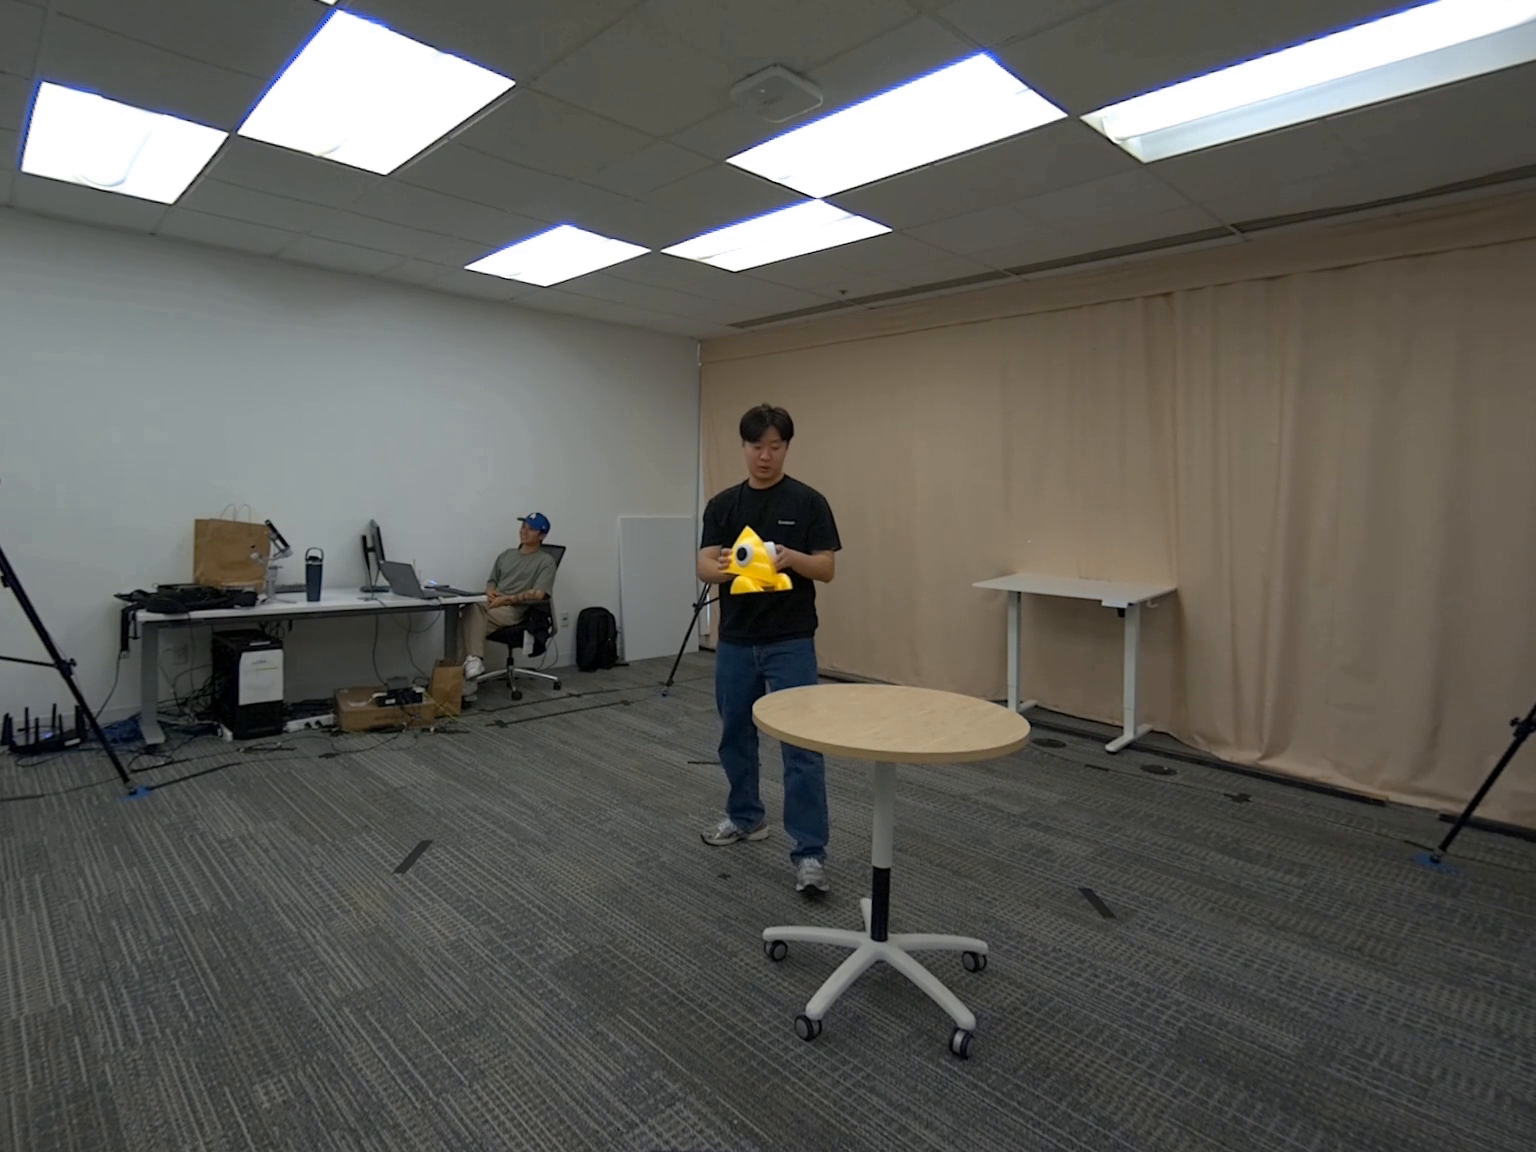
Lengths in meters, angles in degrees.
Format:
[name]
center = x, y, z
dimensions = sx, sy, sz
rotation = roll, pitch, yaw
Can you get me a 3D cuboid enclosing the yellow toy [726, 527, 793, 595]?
[yellow toy]
center = -0.047, -0.059, 2.835
dimensions = 0.201, 0.231, 0.196
rotation = -3, -4, -26
